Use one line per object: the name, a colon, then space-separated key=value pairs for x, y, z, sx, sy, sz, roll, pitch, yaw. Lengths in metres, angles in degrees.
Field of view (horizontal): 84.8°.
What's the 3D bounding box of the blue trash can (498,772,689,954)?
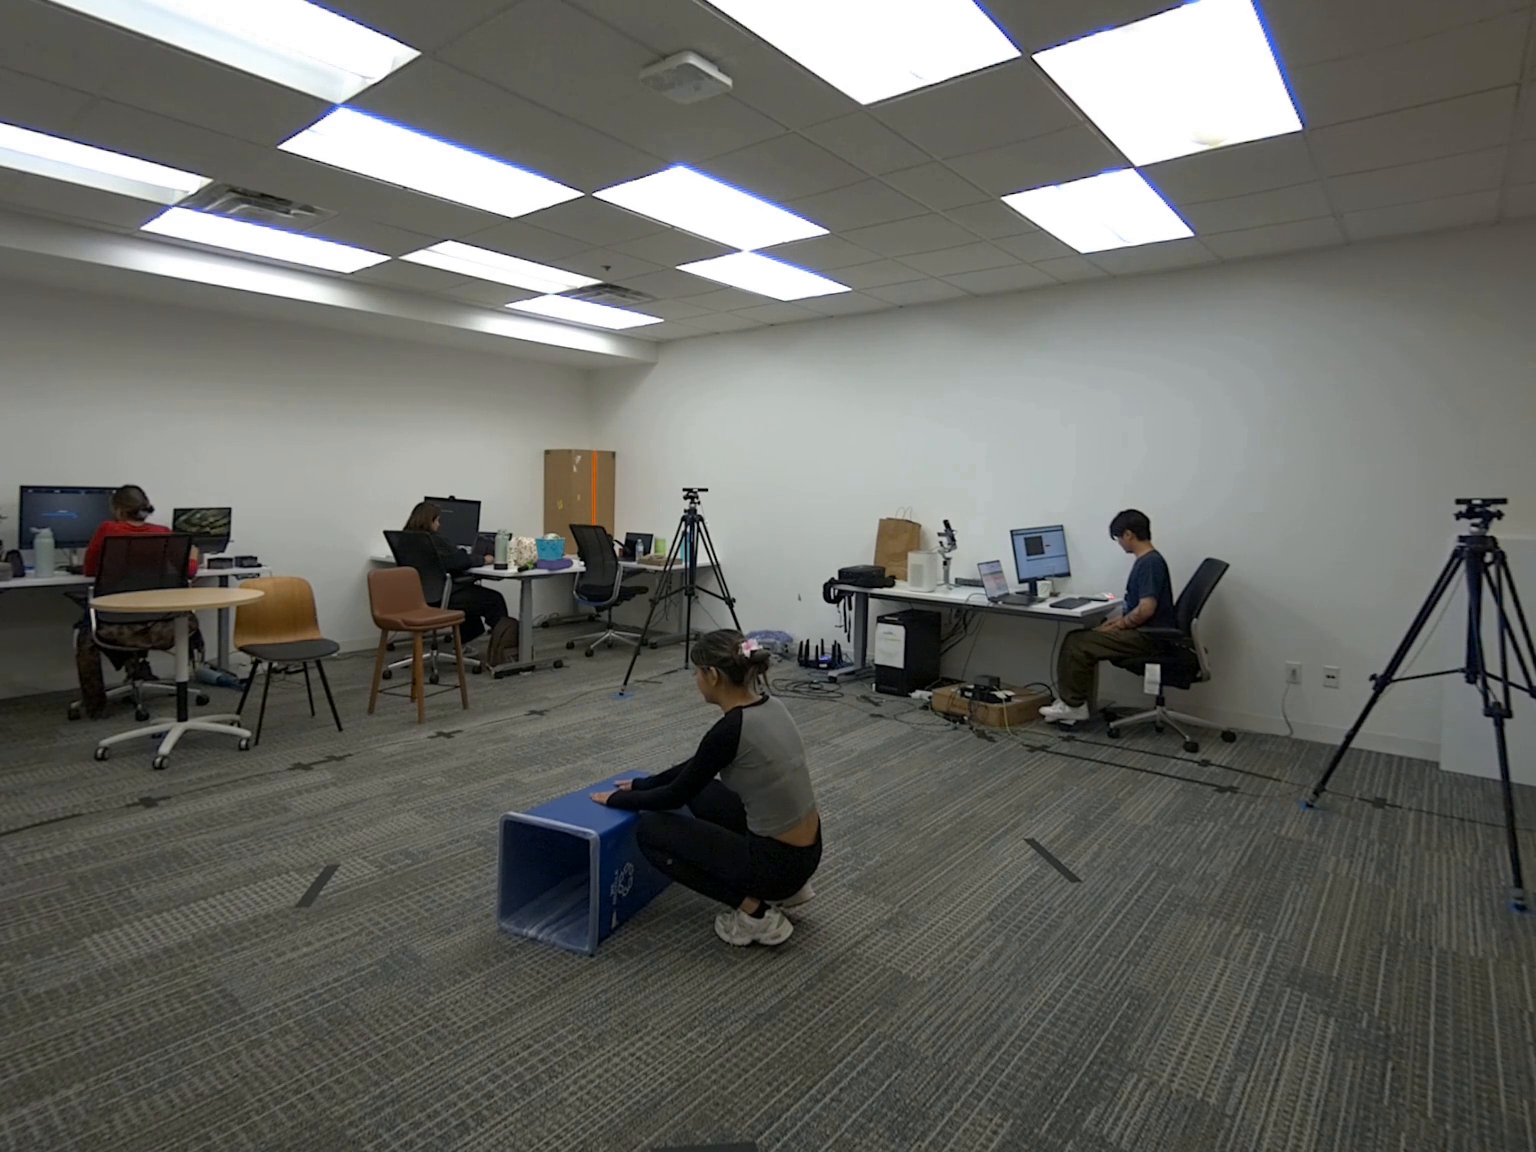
blue trash can: x=-0.548 y=0.918 z=2.901 sx=0.383 sy=0.378 sz=0.696 roll=2 pitch=2 yaw=24
